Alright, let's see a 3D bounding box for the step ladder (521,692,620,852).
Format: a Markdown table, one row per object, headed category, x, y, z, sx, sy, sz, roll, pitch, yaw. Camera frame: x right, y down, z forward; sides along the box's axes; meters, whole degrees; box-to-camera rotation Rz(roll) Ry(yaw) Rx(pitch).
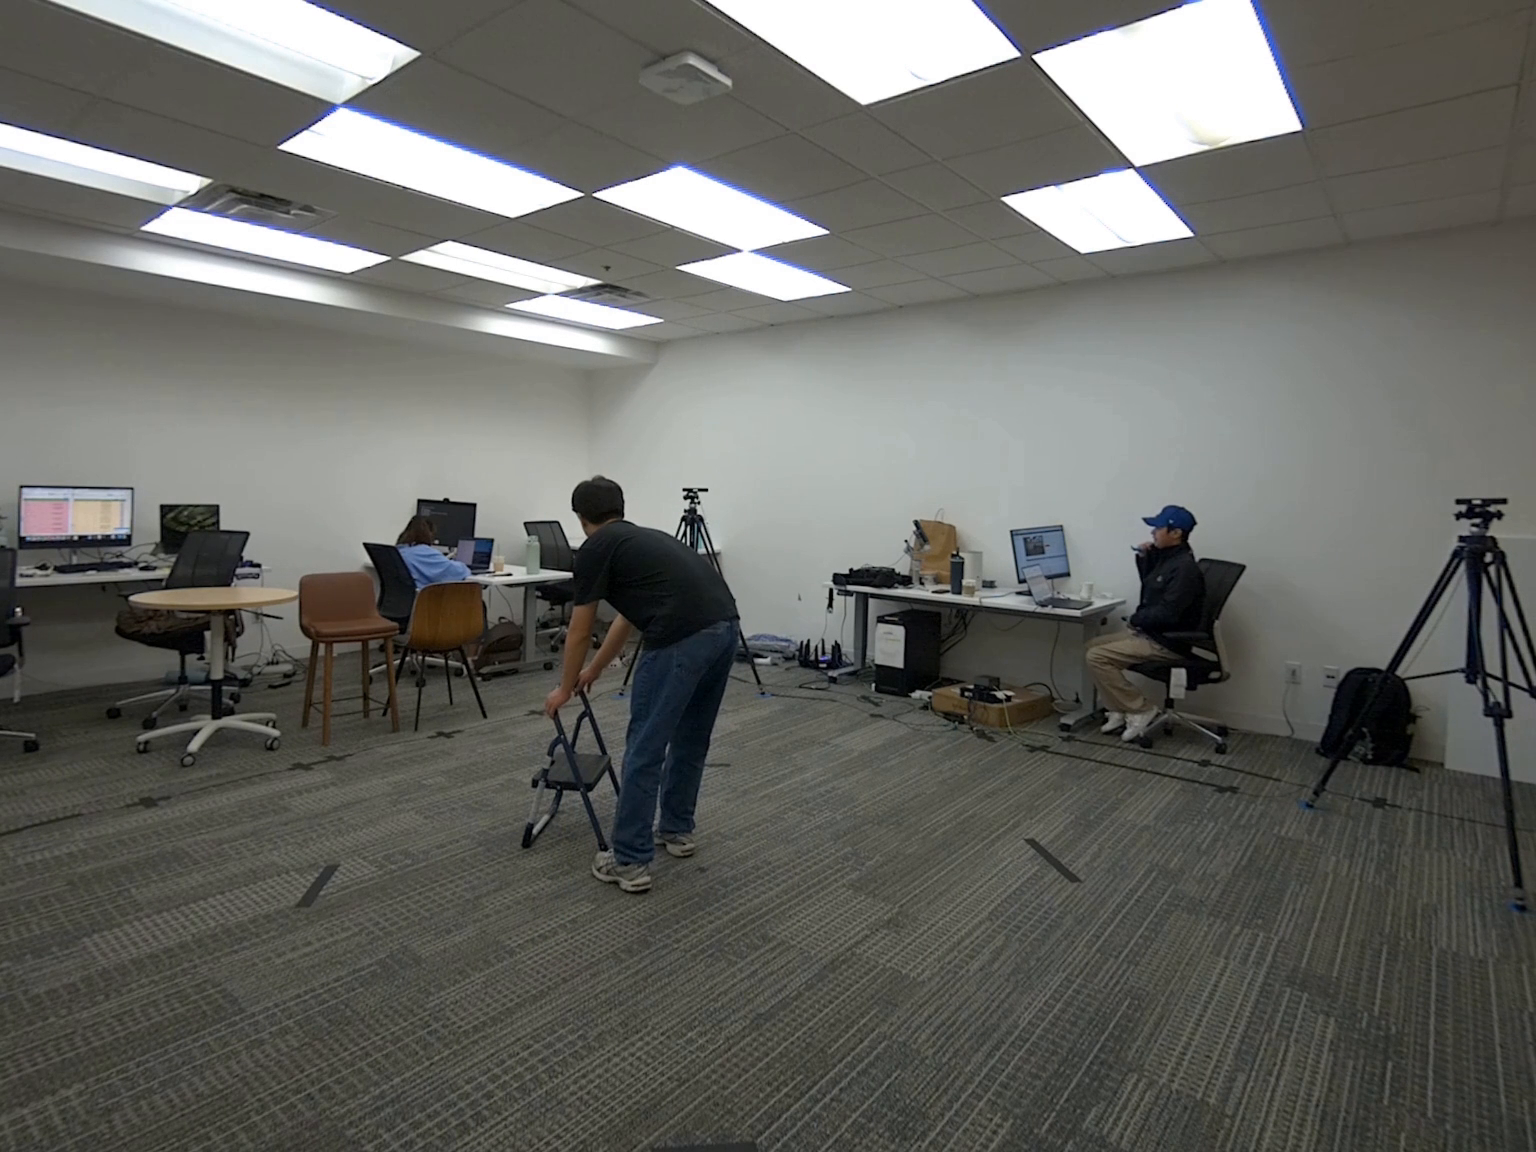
| category | x | y | z | sx | sy | sz | roll | pitch | yaw |
| --- | --- | --- | --- | --- | --- | --- | --- | --- | --- |
| step ladder | -0.777 | 0.726 | 3.437 | 0.351 | 0.604 | 0.430 | 1 | 3 | 3 |
